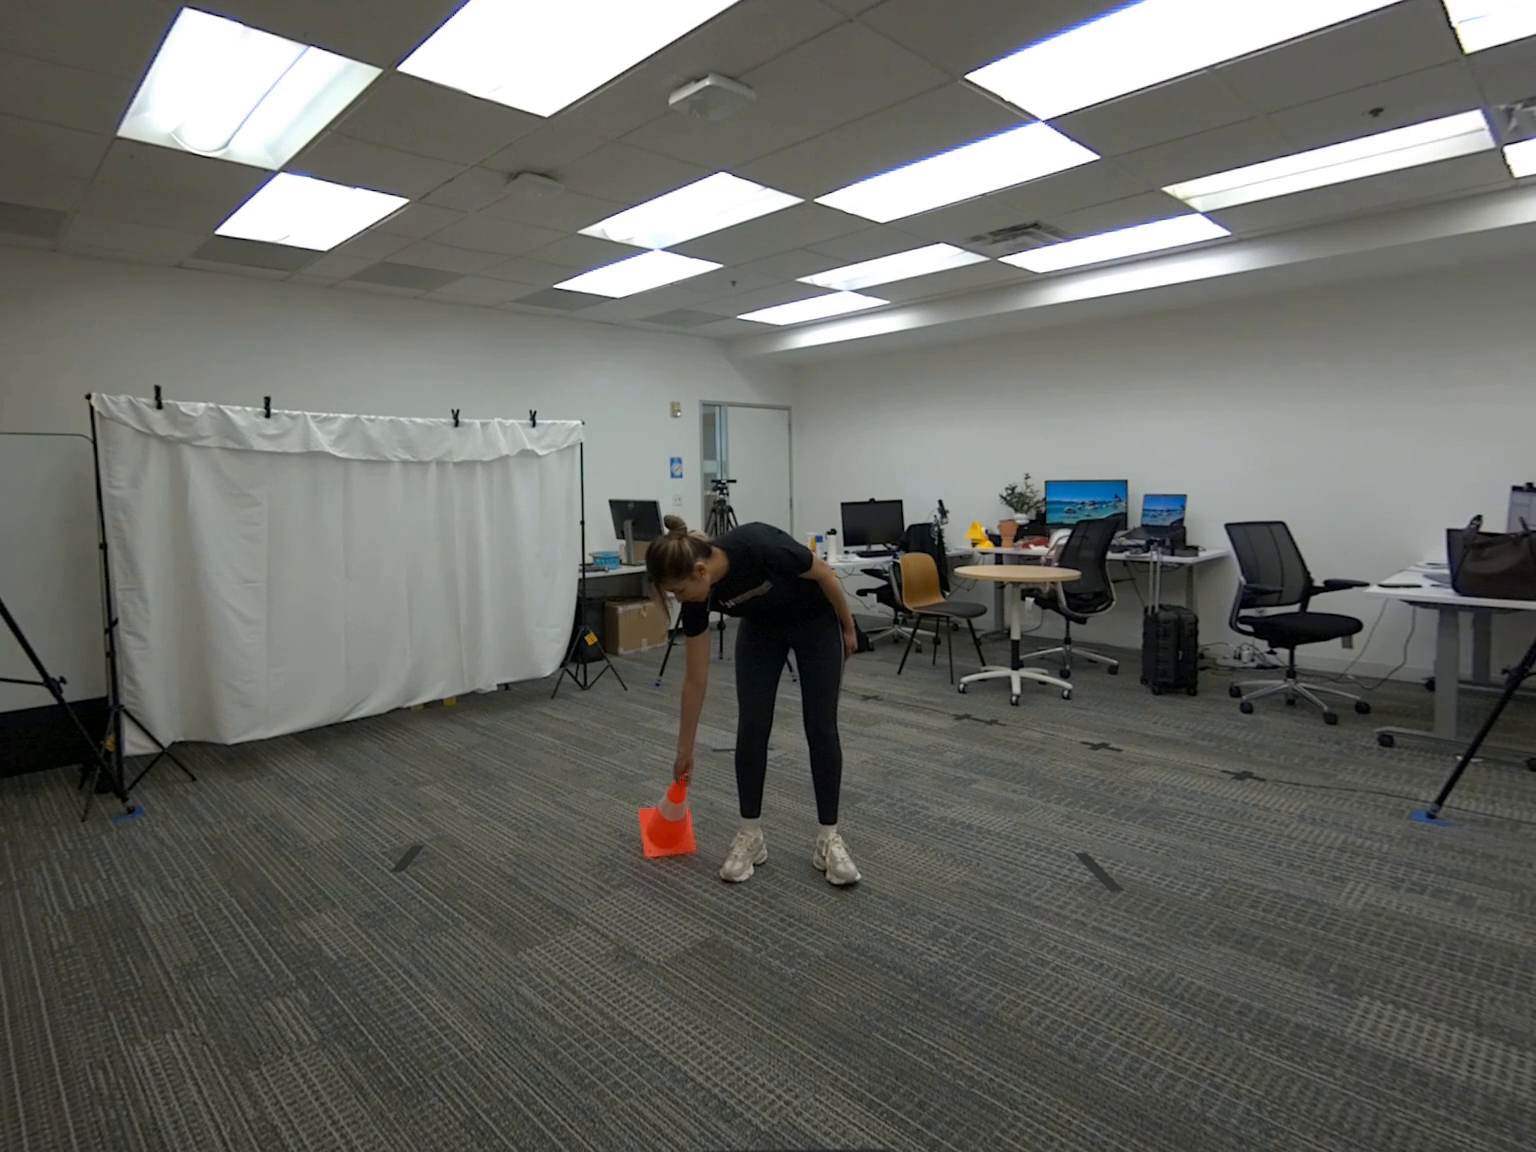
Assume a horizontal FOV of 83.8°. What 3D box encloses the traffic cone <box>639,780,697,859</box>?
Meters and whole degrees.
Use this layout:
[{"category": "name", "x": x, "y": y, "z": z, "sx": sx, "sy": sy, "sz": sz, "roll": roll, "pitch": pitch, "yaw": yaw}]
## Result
[{"category": "traffic cone", "x": -0.336, "y": 0.846, "z": 3.123, "sx": 0.201, "sy": 0.376, "sz": 0.211, "roll": 2, "pitch": 46, "yaw": -14}]
